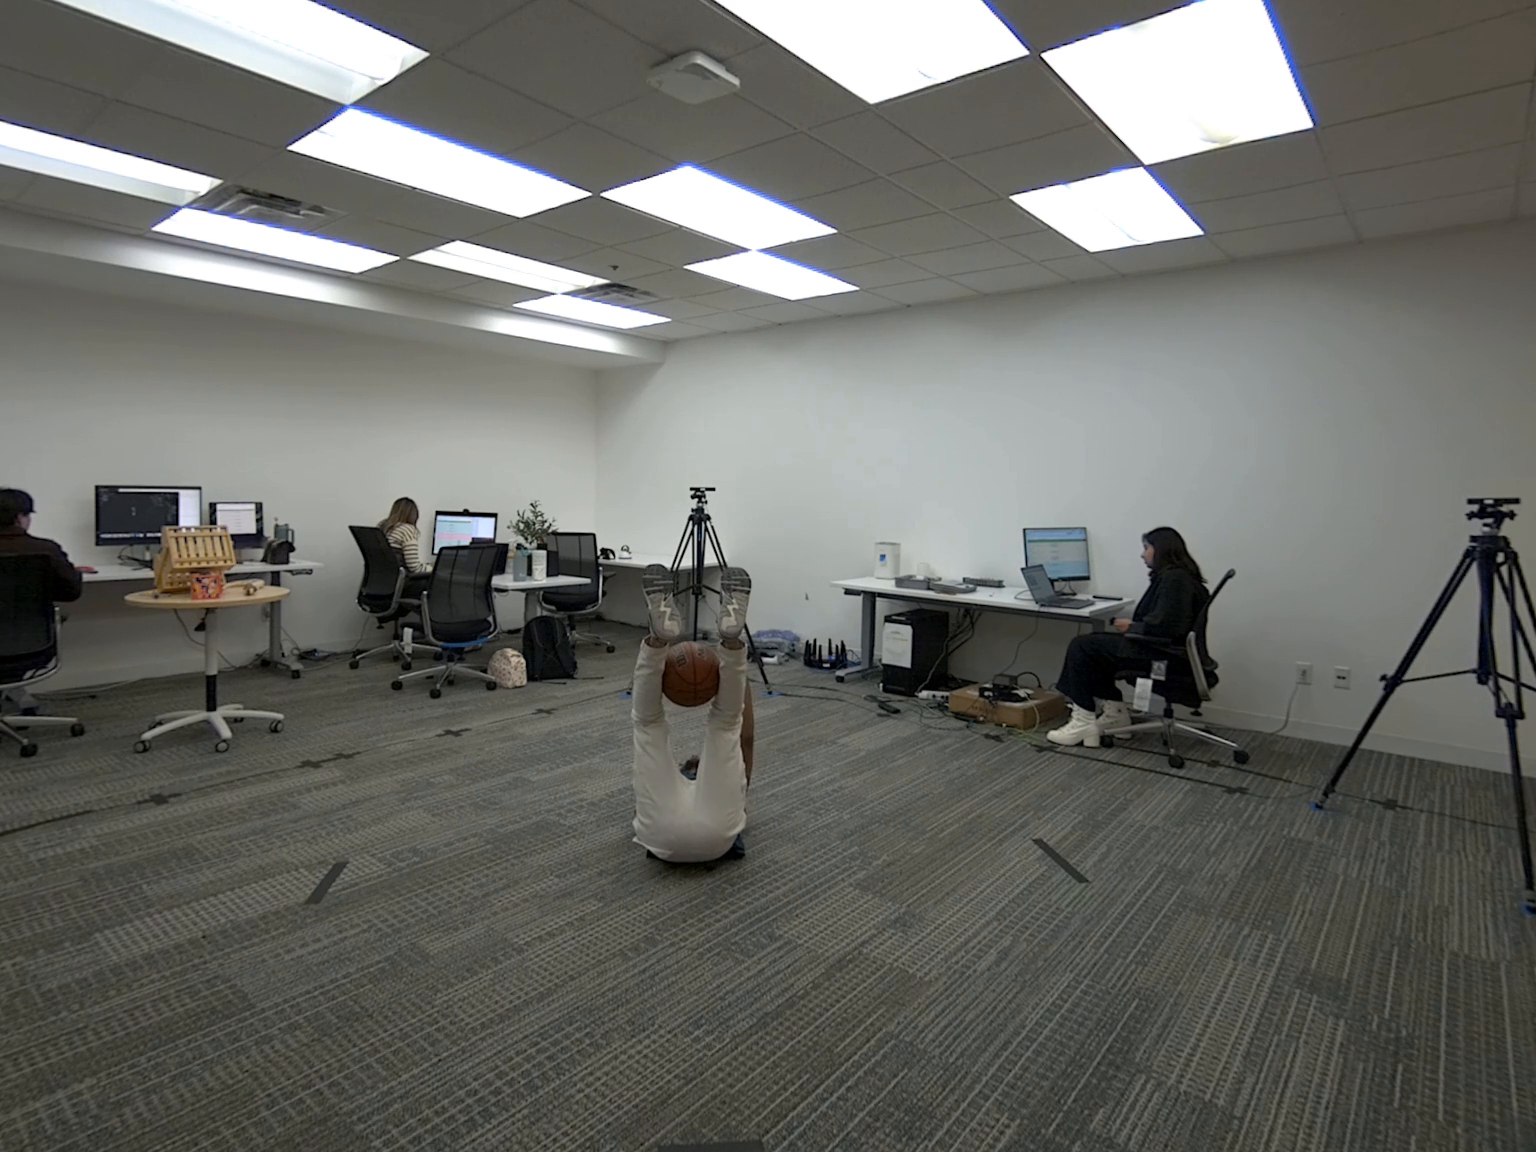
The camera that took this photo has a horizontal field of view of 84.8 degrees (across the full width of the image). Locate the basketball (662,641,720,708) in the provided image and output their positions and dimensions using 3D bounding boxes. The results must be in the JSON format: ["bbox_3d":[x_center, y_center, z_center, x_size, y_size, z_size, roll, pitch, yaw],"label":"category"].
[{"bbox_3d":[-0.290,0.357,3.120,0.235,0.235,0.237,1,4,-2],"label":"basketball"}]
